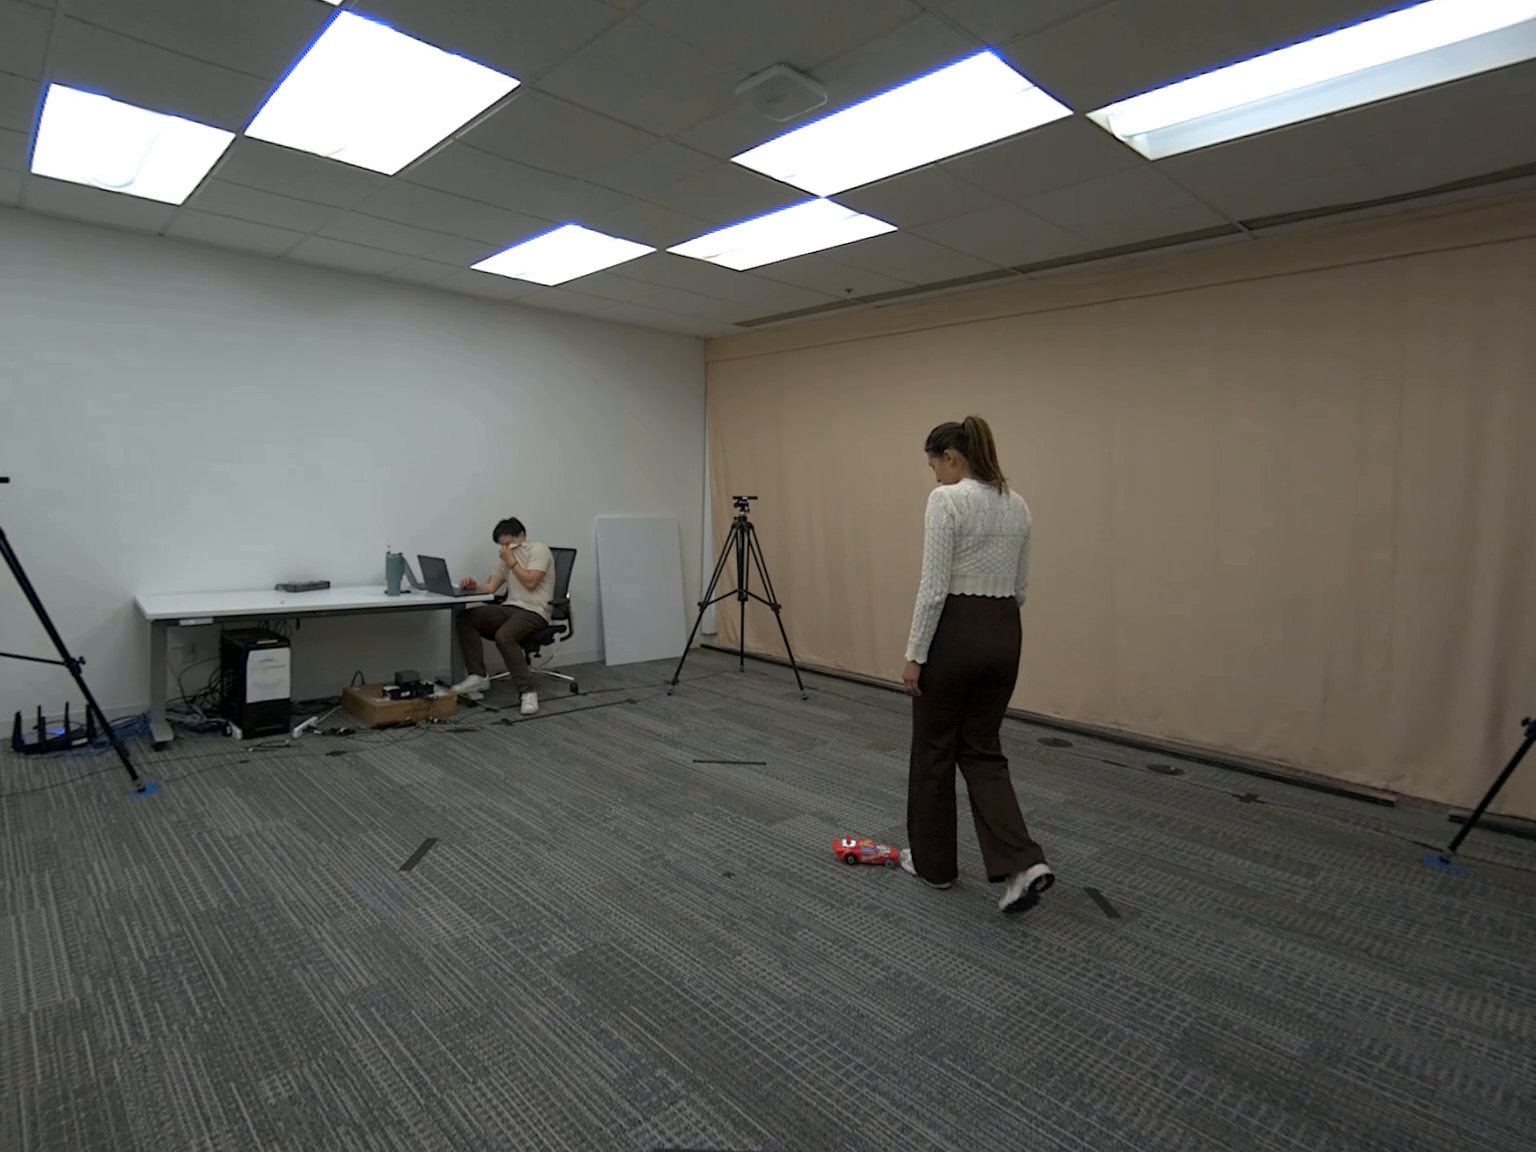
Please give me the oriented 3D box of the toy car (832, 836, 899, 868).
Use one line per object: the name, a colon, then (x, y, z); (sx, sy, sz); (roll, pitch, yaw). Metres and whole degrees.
toy car: (0.357, 1.069, 3.255); (0.256, 0.083, 0.130); (14, 7, 5)
